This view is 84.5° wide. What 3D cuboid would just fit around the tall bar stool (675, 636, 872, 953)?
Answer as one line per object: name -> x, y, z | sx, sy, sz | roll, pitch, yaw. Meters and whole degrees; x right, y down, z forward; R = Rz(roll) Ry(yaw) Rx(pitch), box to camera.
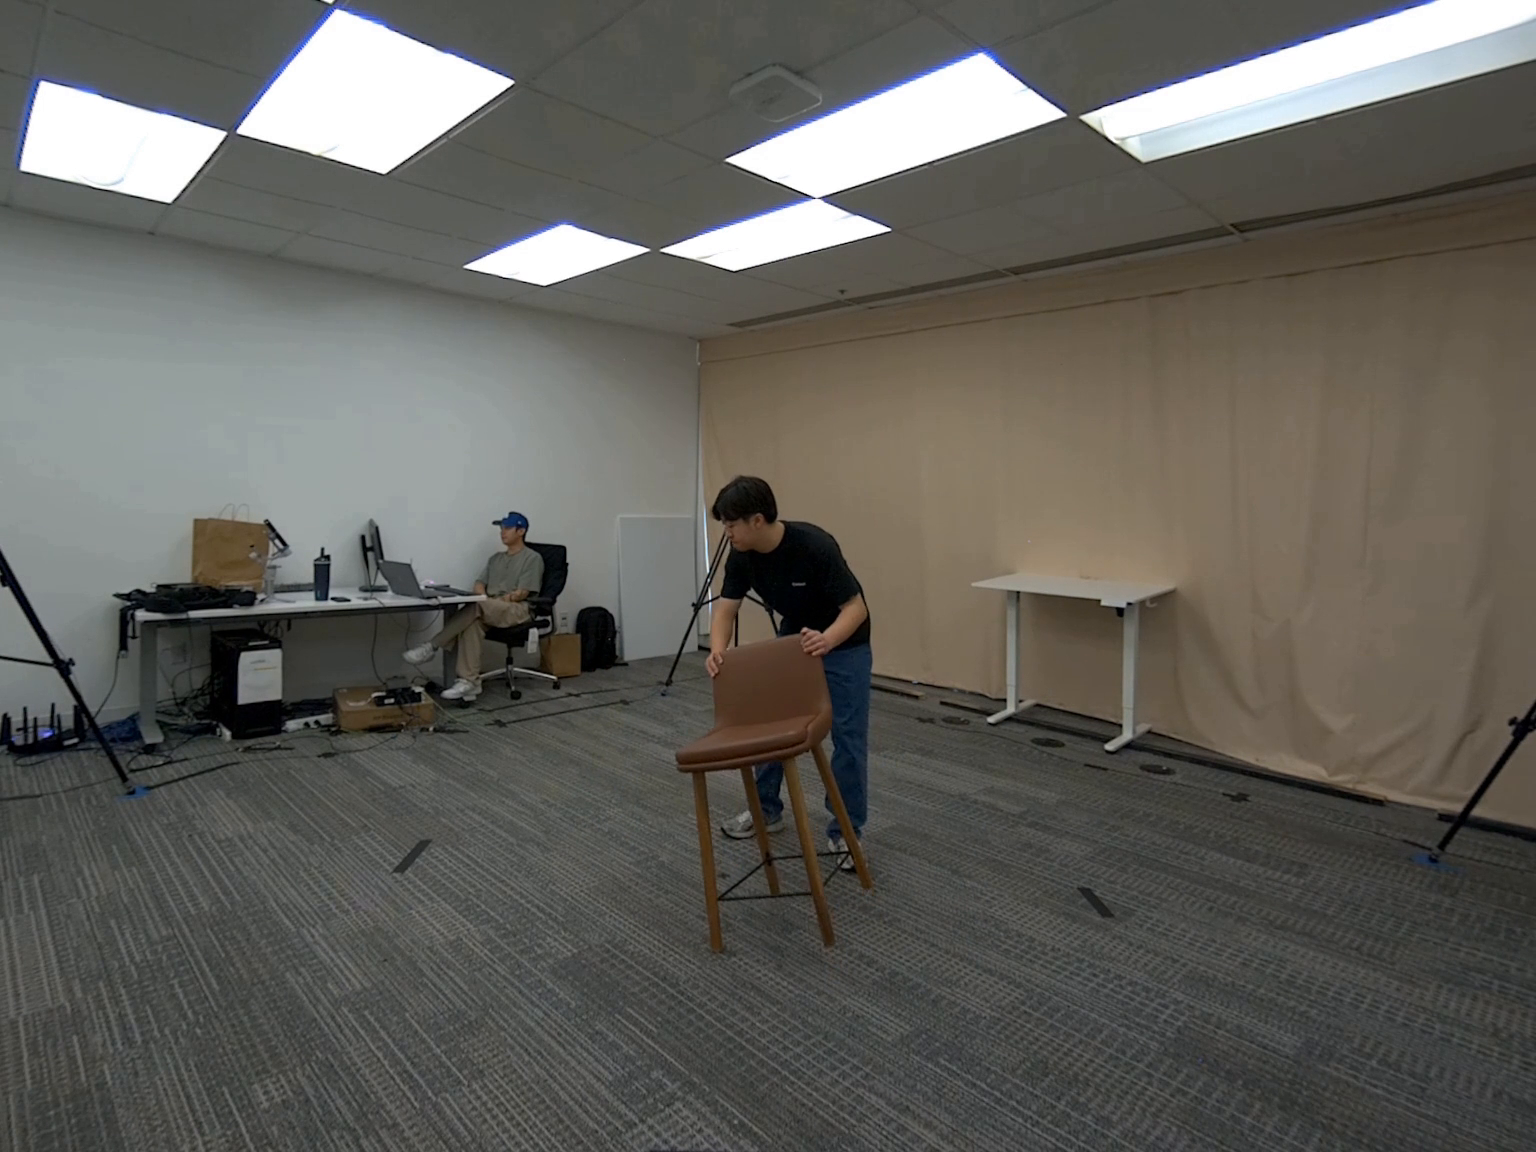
tall bar stool -> 0.000, 0.673, 2.733 | 0.463, 0.895, 0.458 | -15, -7, 26
